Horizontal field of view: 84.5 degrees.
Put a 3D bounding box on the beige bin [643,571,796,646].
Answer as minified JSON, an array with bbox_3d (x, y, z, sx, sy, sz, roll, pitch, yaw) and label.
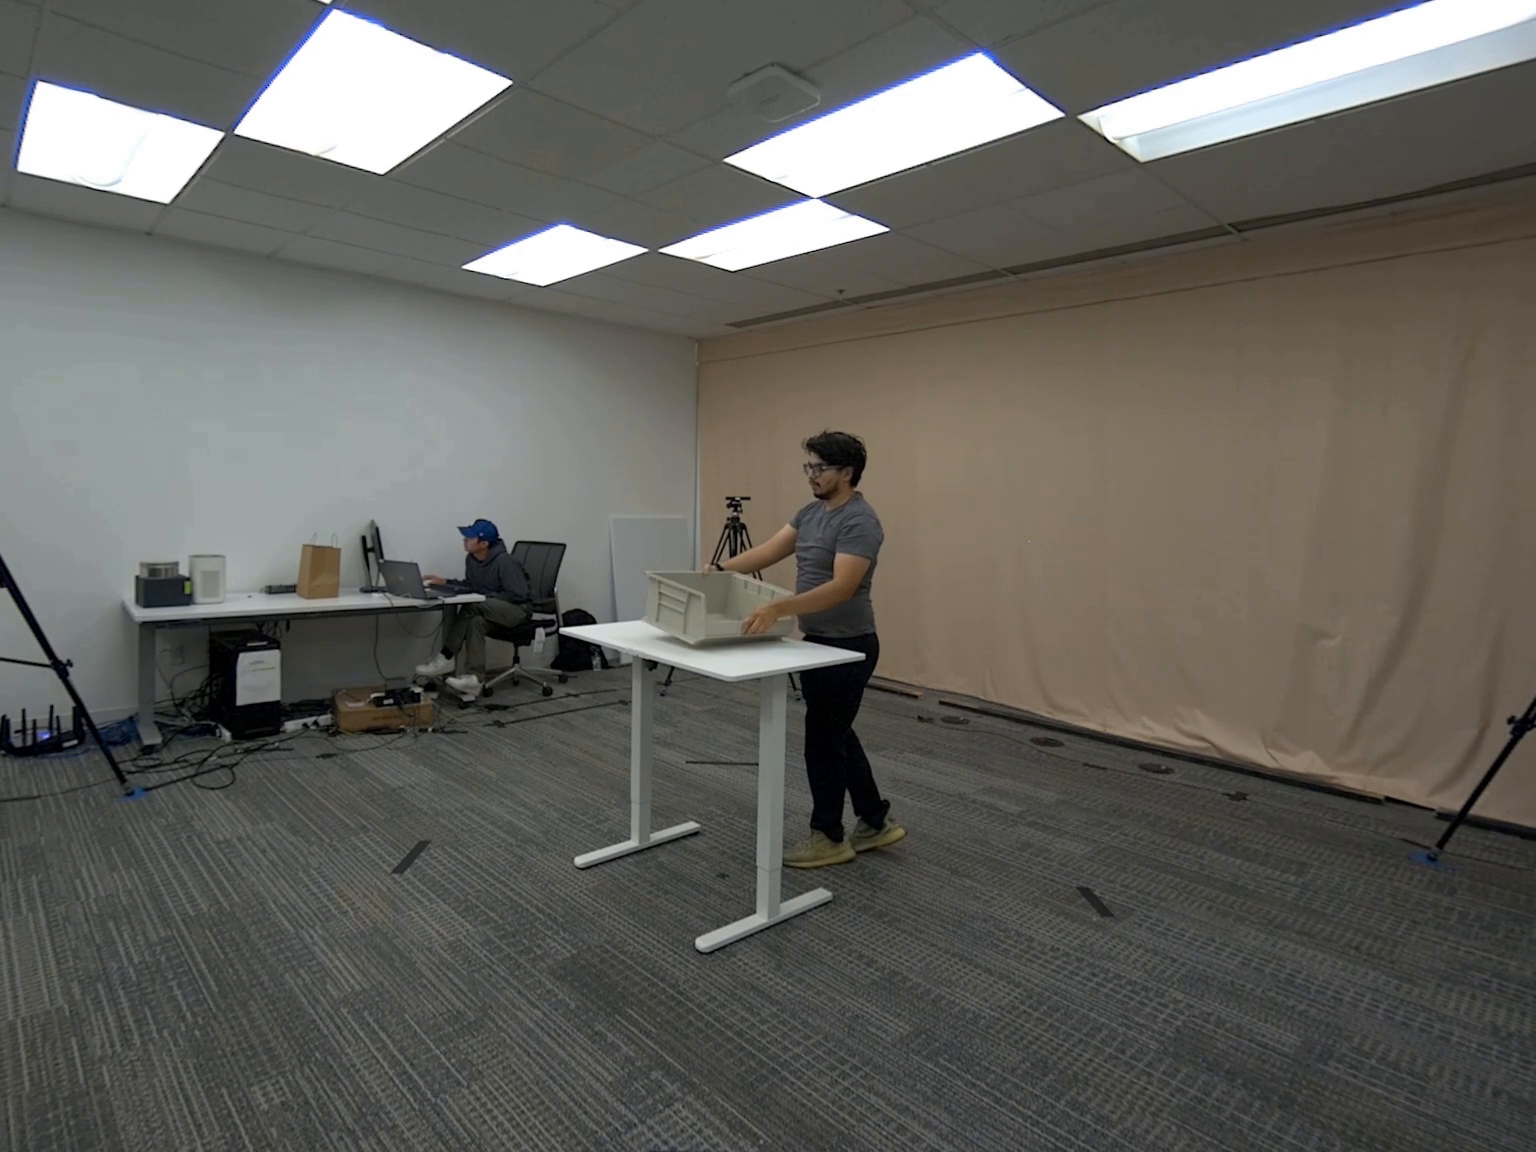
[{"bbox_3d":[-0.178,0.115,3.018,0.412,0.188,0.388,0,12,-41],"label":"beige bin"}]
